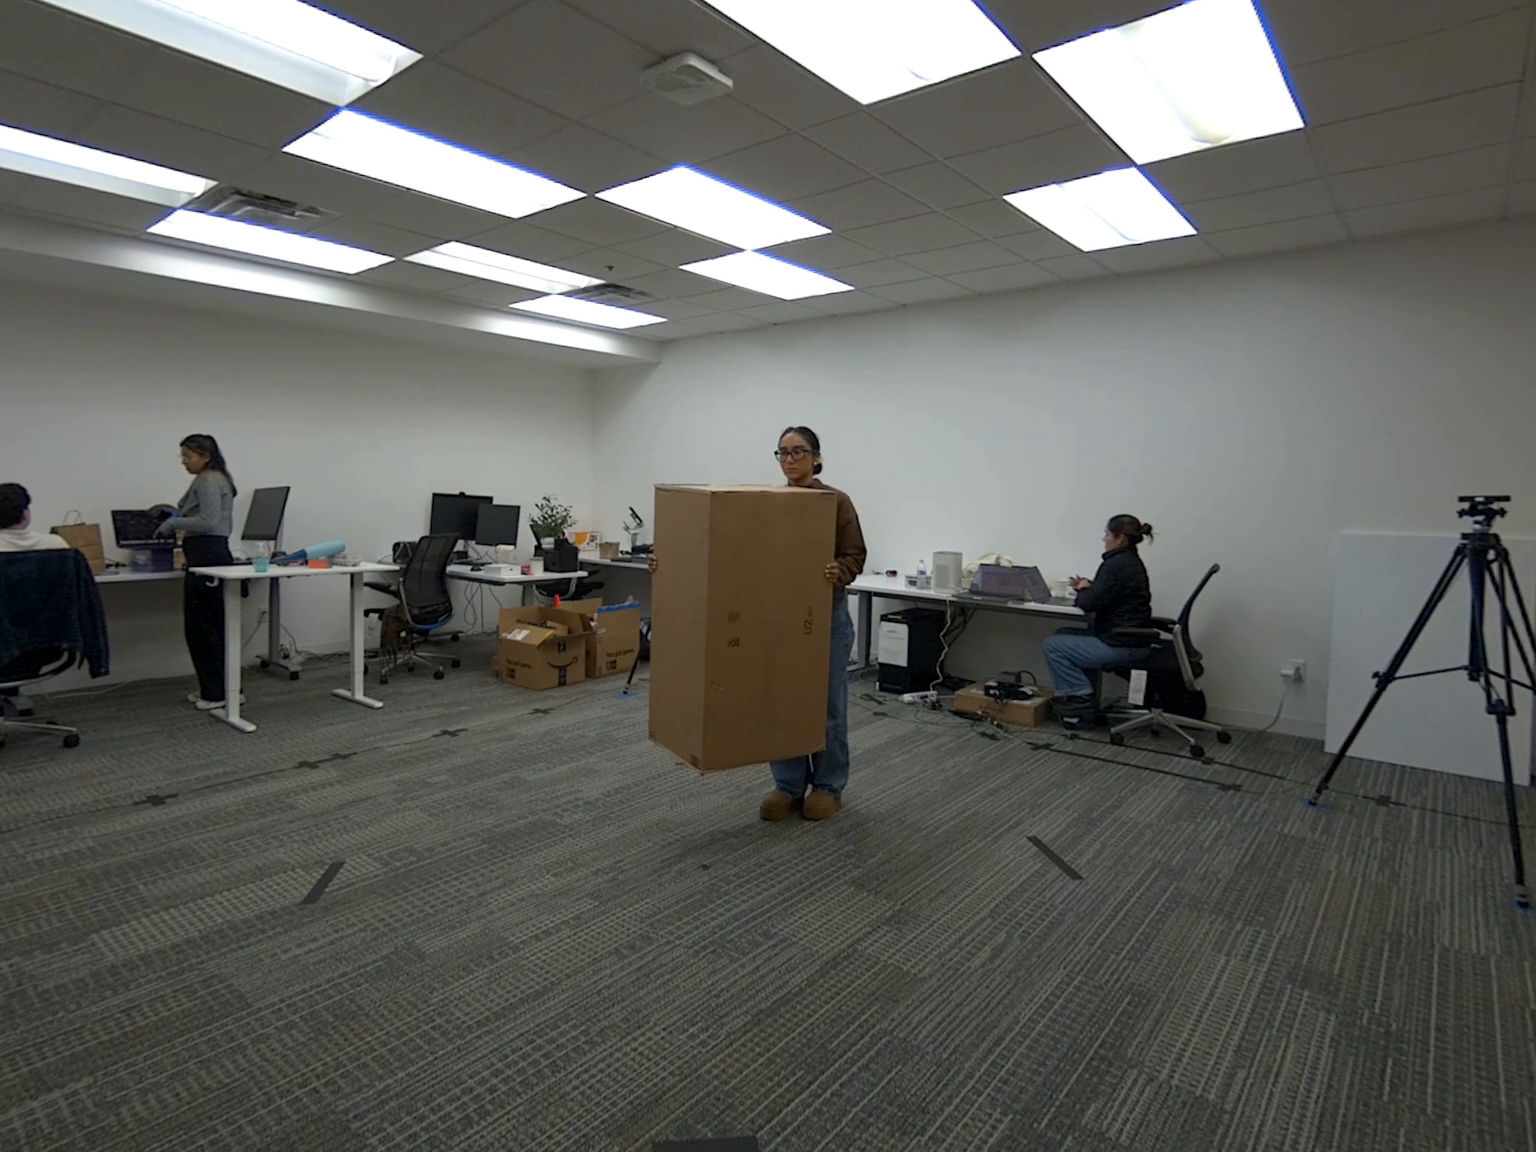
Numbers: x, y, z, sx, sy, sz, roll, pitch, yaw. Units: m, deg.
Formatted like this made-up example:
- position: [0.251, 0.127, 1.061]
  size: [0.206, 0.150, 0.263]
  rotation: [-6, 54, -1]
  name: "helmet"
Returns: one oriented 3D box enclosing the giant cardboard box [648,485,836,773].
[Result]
- position: [-0.118, 0.172, 3.326]
  size: [0.561, 1.020, 0.441]
  rotation: [-2, 8, -34]
  name: "giant cardboard box"
